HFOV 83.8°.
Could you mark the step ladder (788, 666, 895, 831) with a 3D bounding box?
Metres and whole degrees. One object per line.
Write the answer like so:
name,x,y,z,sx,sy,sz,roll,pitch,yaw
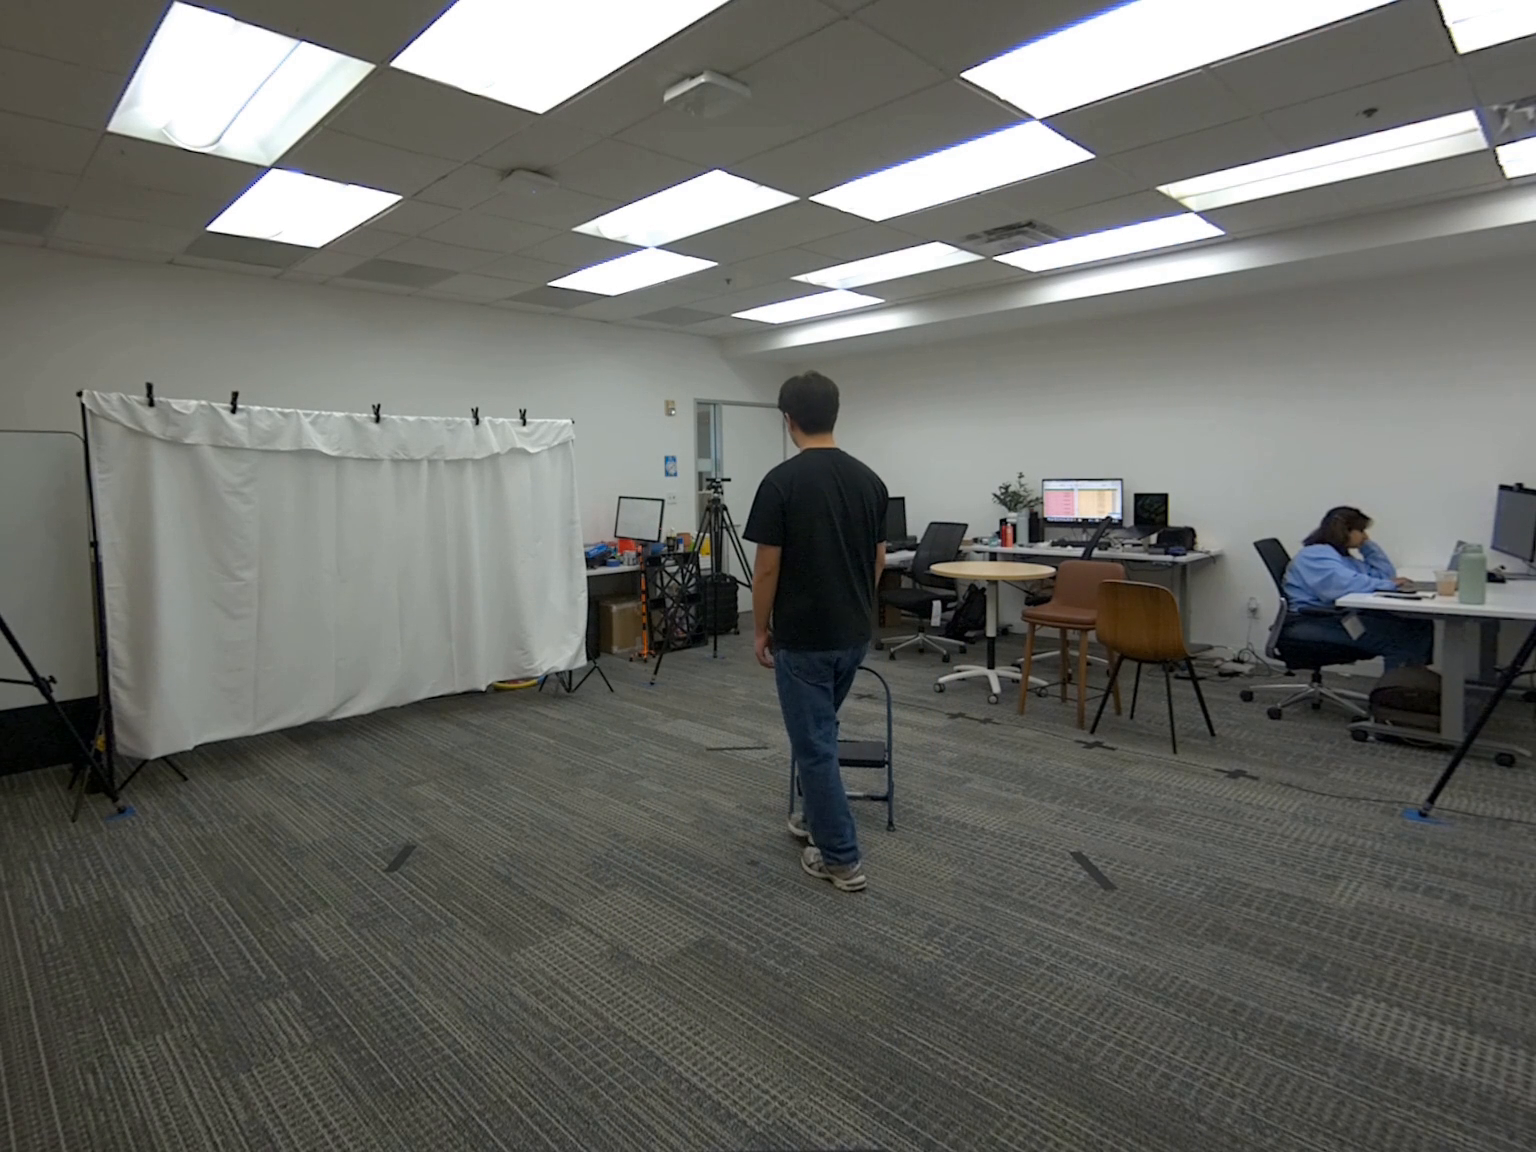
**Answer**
step ladder,0.316,0.686,3.557,0.435,0.604,0.347,0,4,9
